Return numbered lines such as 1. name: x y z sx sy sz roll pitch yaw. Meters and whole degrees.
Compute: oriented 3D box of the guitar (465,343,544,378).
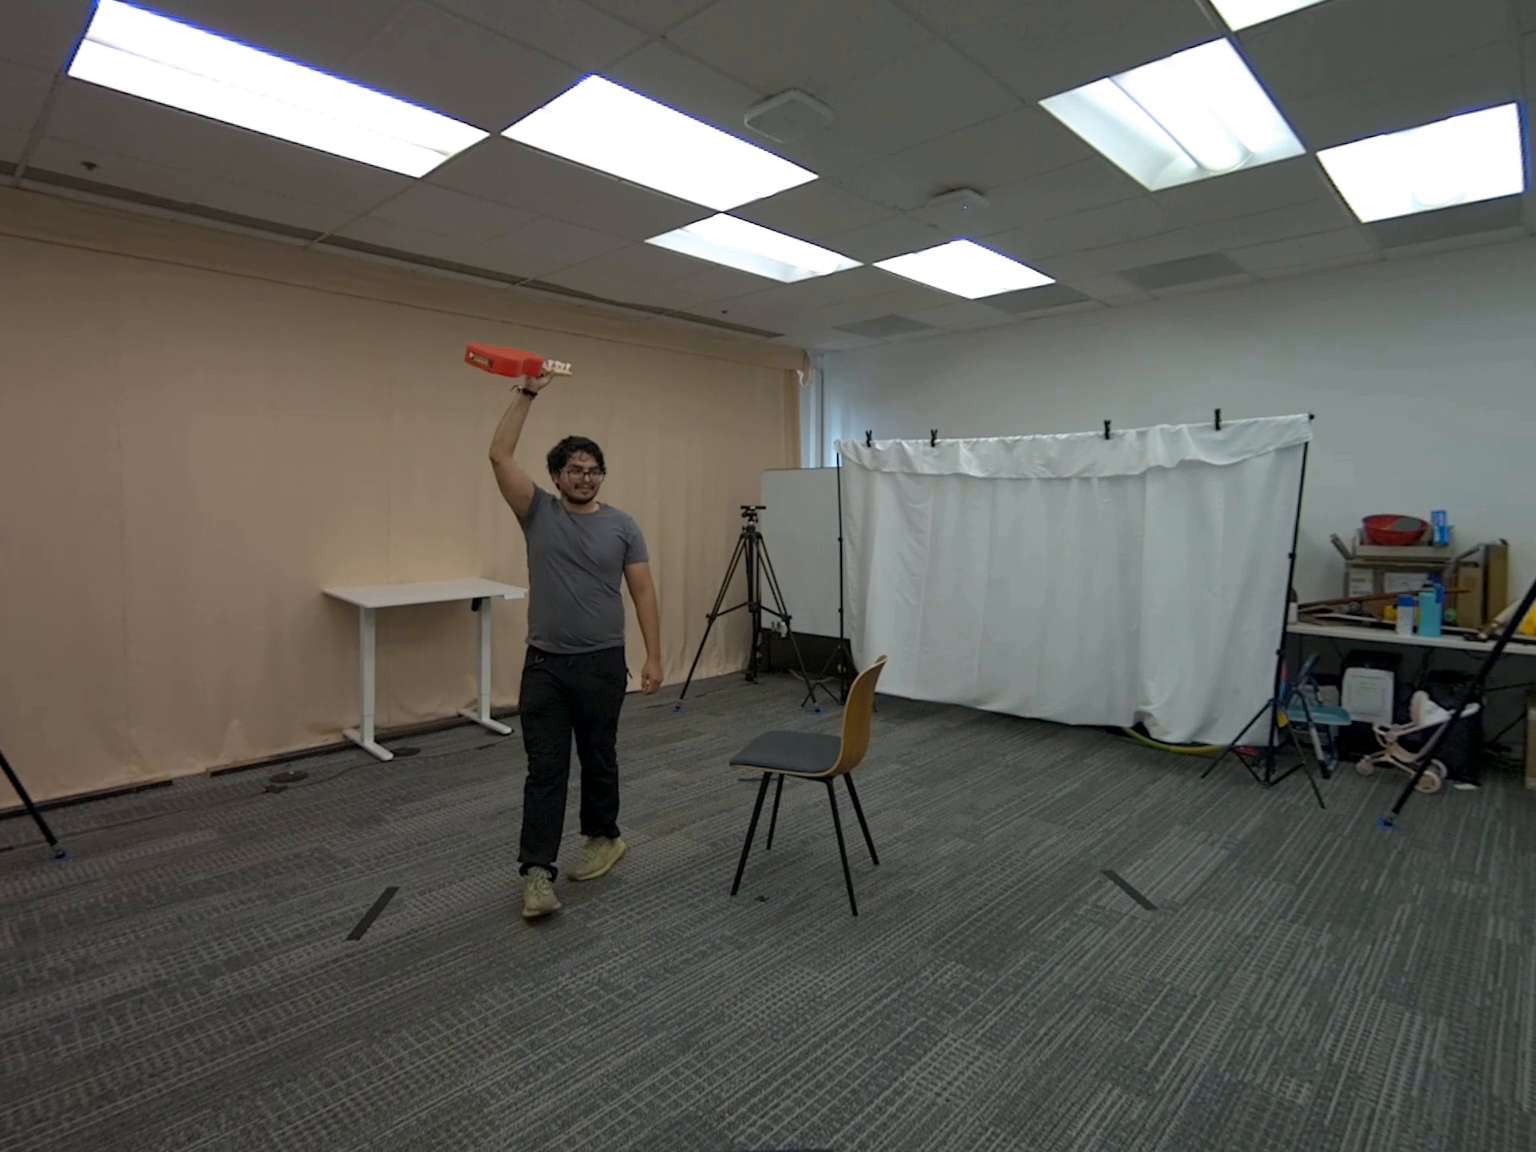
1. guitar: -0.846 -0.737 2.875 0.195 0.070 0.495 18 17 7
